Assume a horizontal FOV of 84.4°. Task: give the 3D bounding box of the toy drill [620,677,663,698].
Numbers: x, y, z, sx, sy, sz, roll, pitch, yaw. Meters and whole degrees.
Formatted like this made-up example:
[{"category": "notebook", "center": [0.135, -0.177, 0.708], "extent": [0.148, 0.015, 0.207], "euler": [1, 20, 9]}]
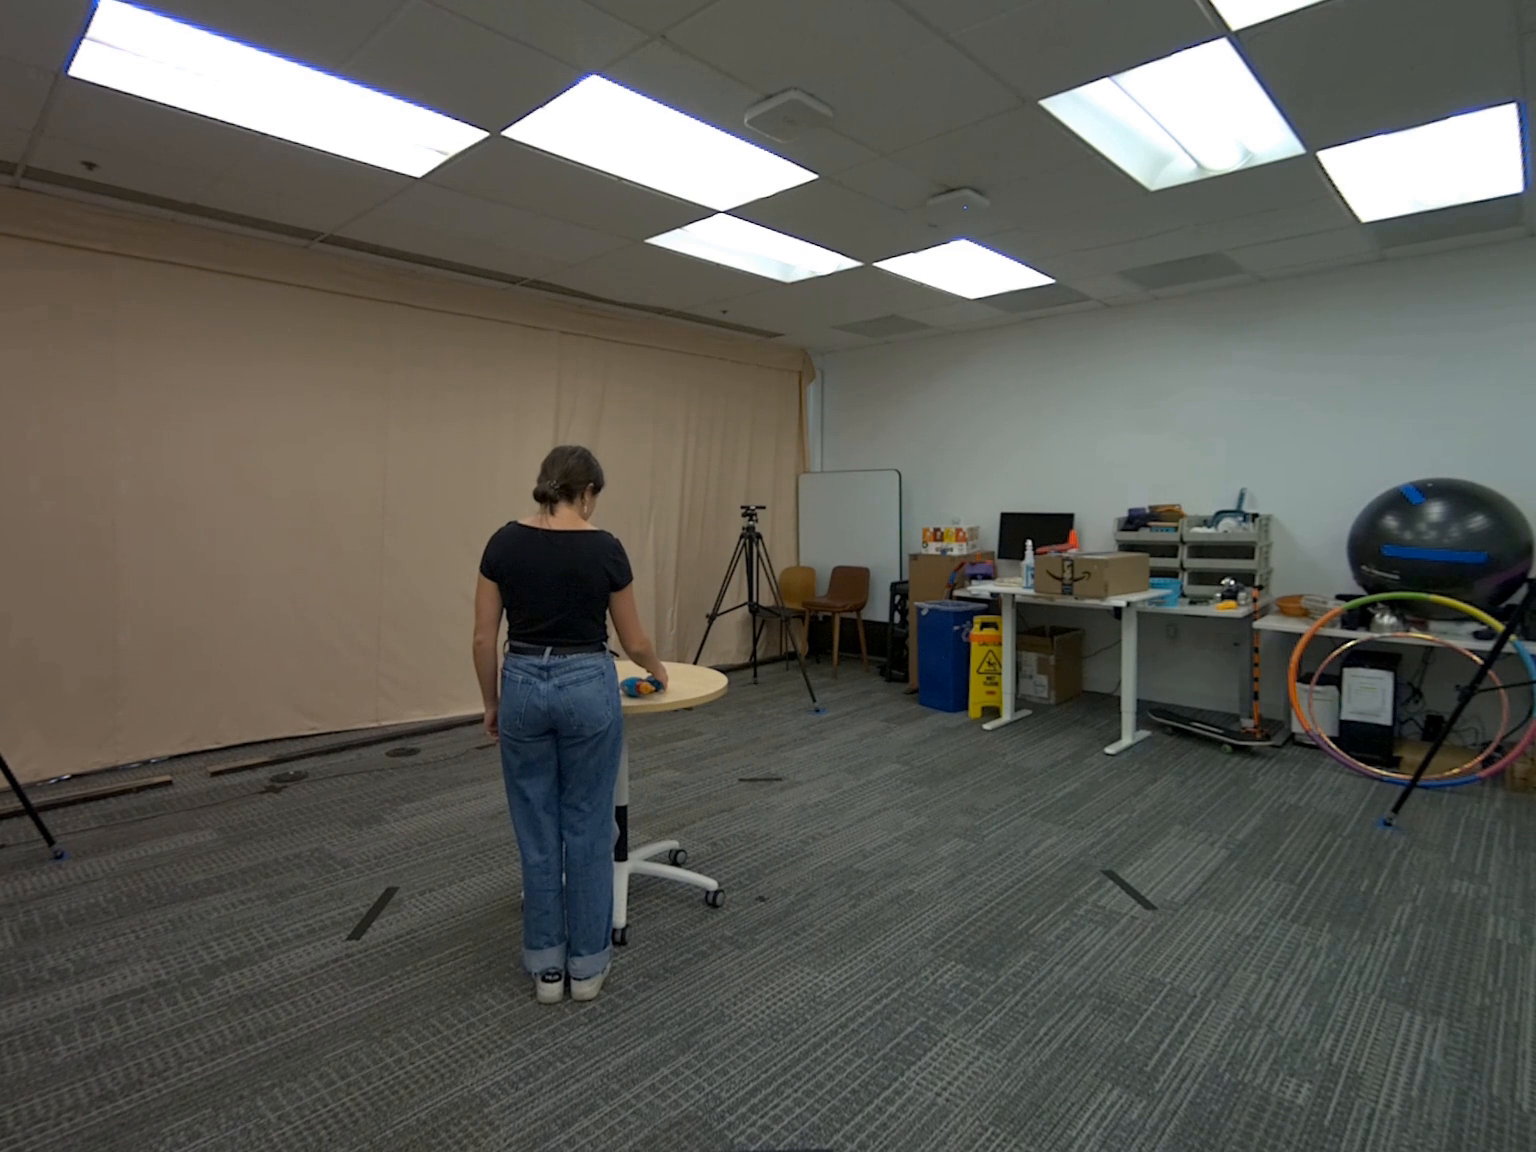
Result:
[{"category": "toy drill", "center": [-0.385, 0.360, 2.722], "extent": [0.141, 0.061, 0.175], "euler": [-2, -2, -40]}]
